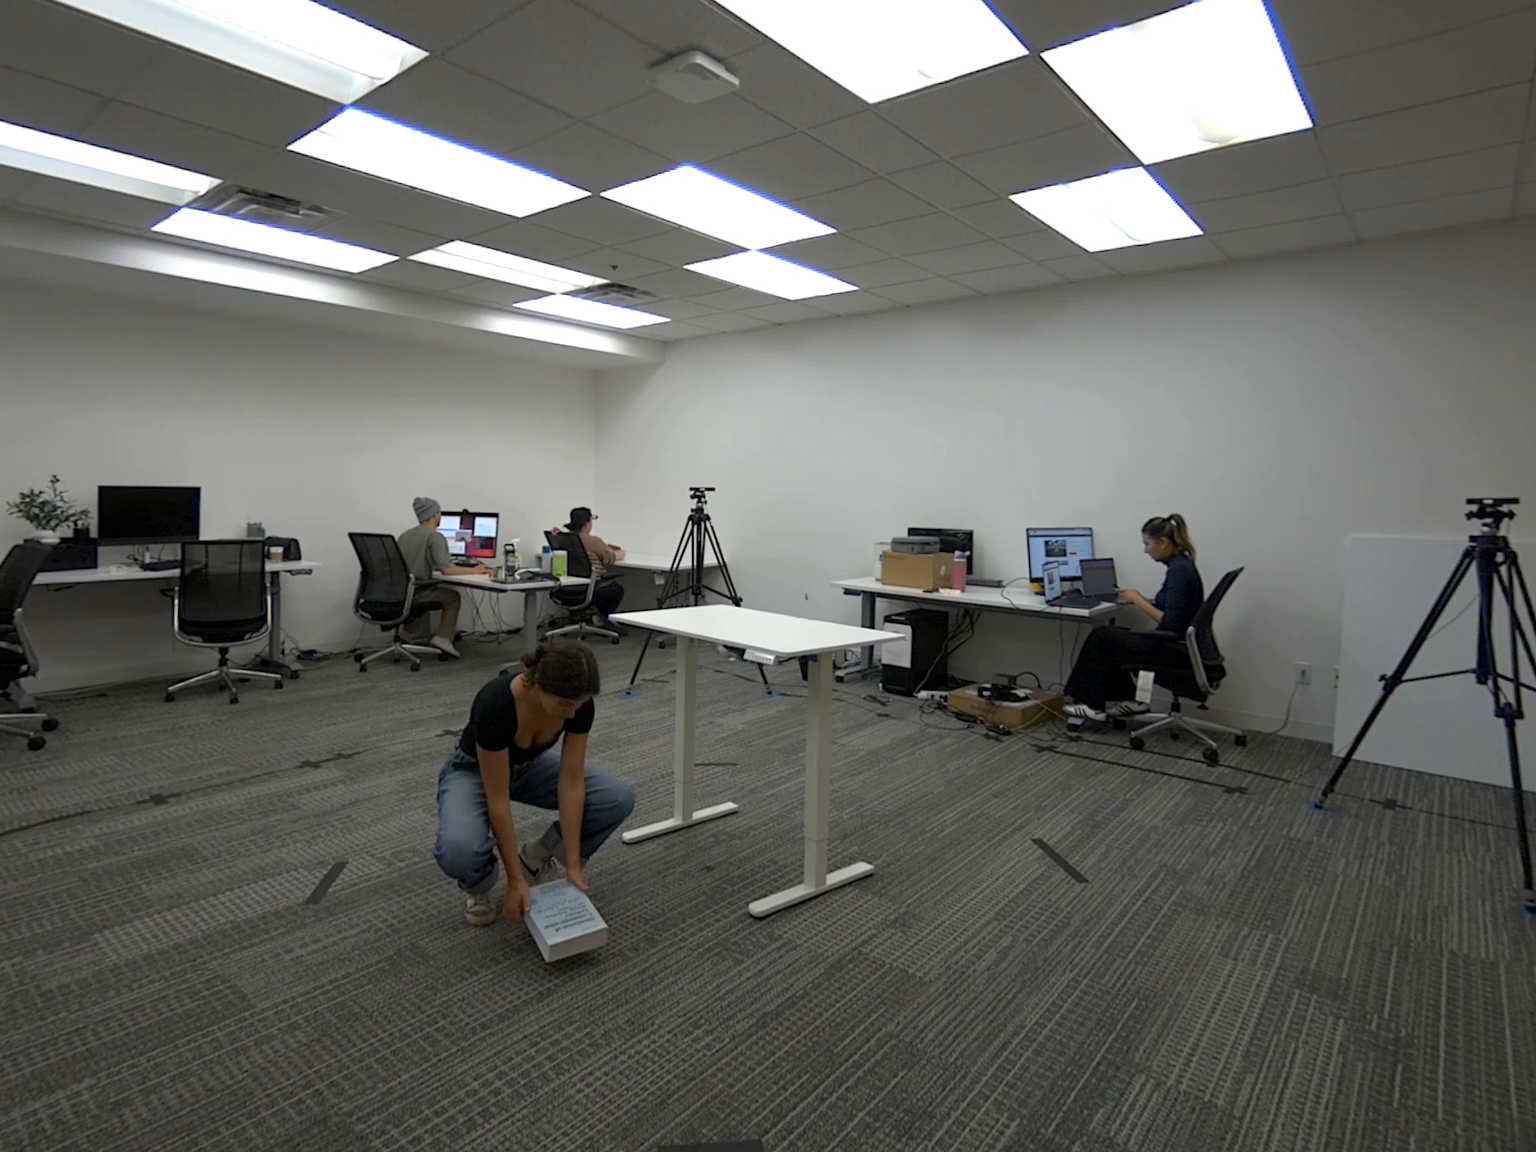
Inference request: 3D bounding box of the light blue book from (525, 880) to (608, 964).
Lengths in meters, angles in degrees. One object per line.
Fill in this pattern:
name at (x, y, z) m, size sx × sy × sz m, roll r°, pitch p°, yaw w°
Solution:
light blue book at (-0.626, 1.011, 2.514) m, size 0.186 × 0.058 × 0.271 m, roll -5°, pitch 17°, yaw -35°
